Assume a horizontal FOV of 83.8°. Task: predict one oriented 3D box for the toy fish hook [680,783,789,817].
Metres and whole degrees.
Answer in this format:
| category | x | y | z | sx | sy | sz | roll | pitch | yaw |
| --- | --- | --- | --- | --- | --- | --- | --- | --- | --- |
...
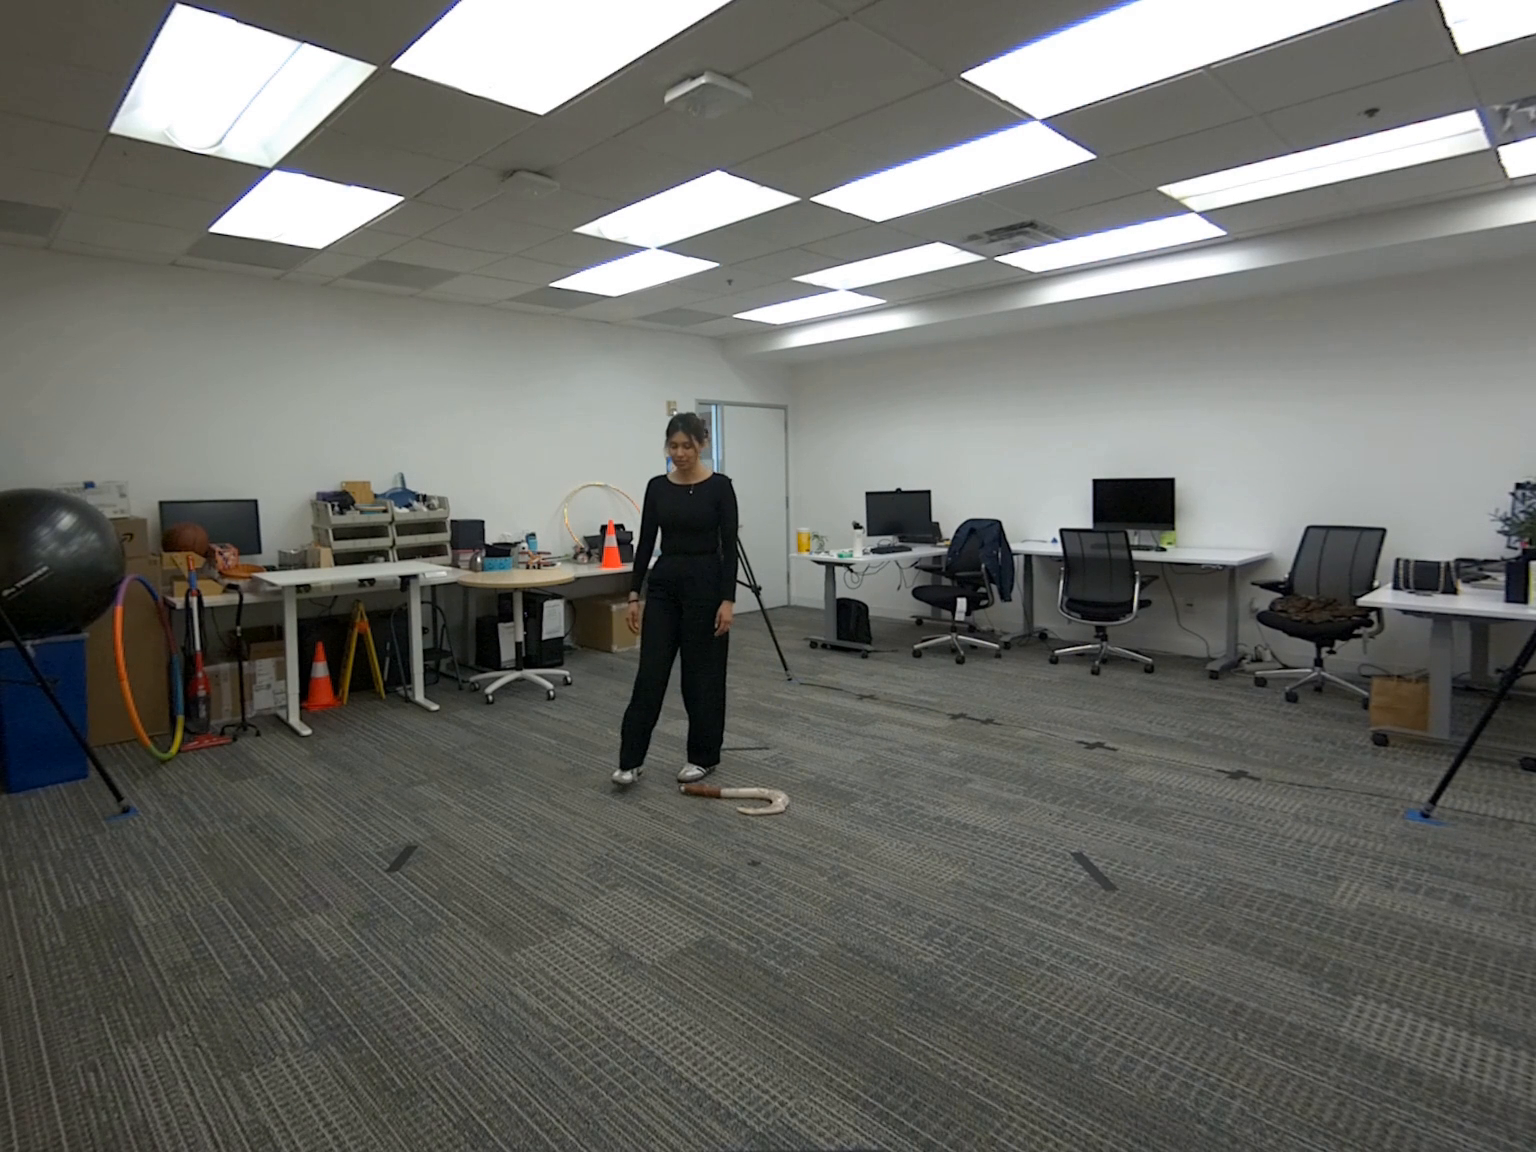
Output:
| category | x | y | z | sx | sy | sz | roll | pitch | yaw |
| --- | --- | --- | --- | --- | --- | --- | --- | --- | --- |
| toy fish hook | -0.164 | 0.958 | 3.687 | 0.515 | 0.048 | 0.221 | 0 | 6 | 18 |
